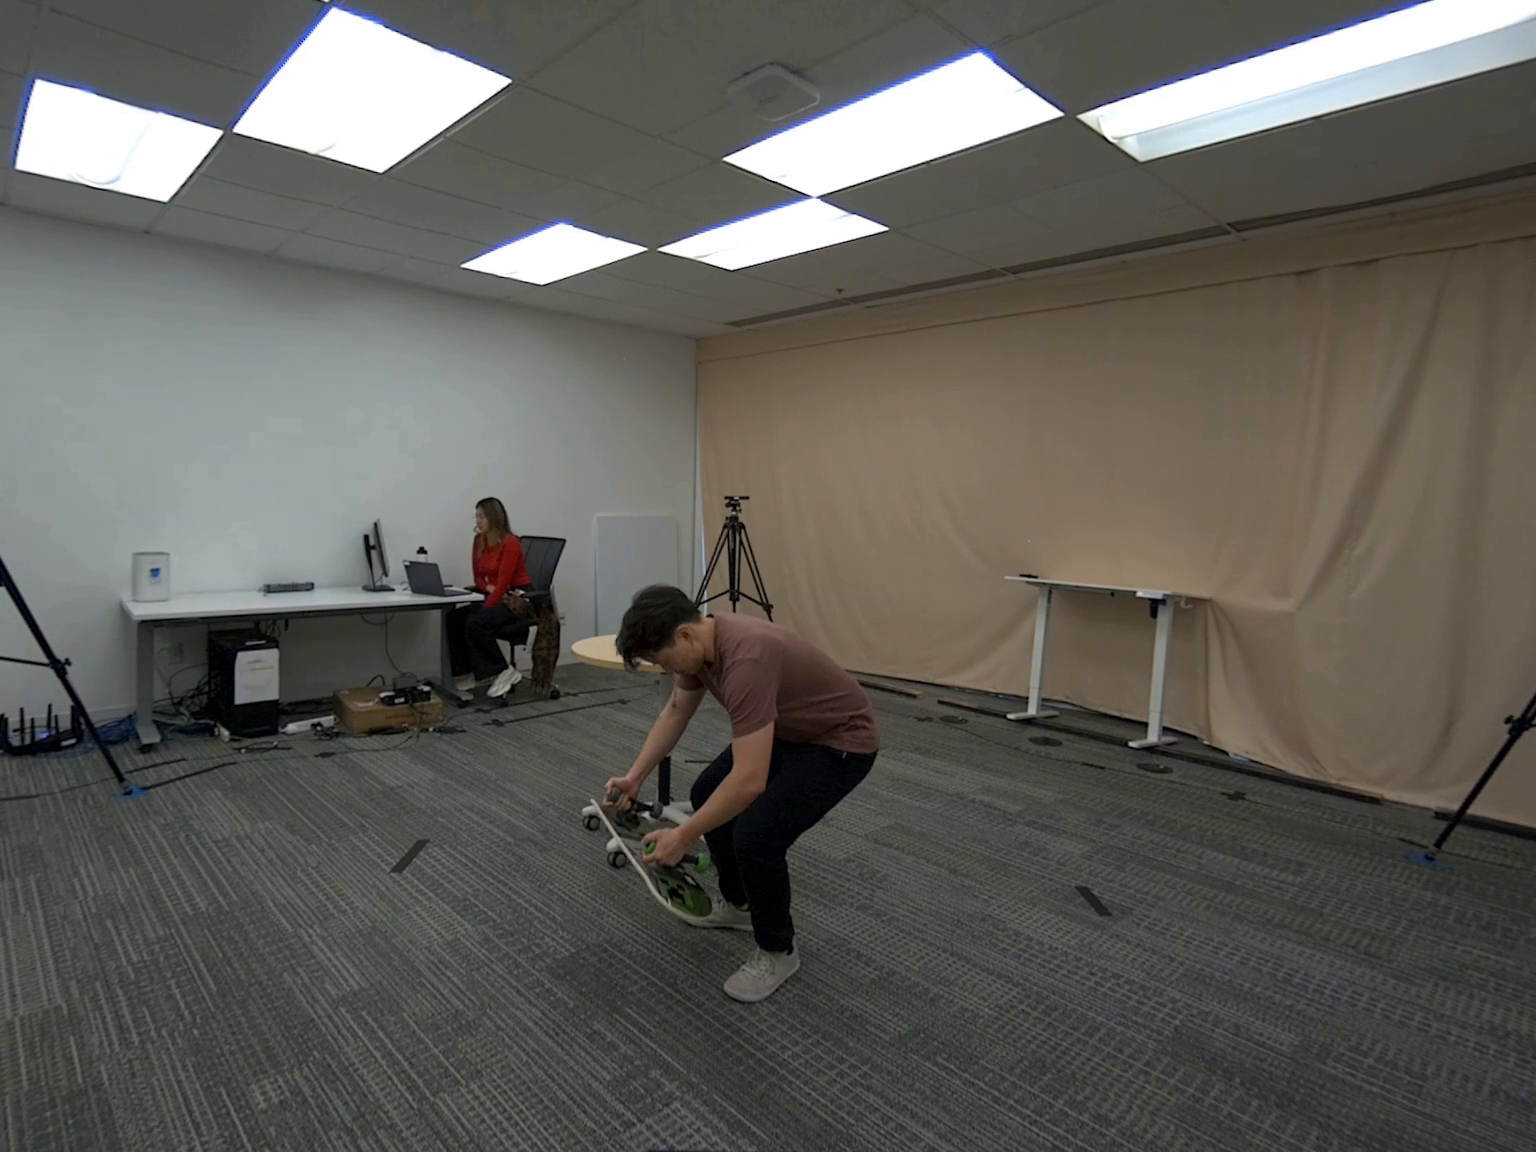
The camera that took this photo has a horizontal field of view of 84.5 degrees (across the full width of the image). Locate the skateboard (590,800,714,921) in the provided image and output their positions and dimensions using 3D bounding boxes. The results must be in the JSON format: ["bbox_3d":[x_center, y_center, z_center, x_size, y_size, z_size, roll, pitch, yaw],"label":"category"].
[{"bbox_3d":[-0.338,0.743,2.404,0.189,0.110,0.801,29,-7,-23],"label":"skateboard"}]
